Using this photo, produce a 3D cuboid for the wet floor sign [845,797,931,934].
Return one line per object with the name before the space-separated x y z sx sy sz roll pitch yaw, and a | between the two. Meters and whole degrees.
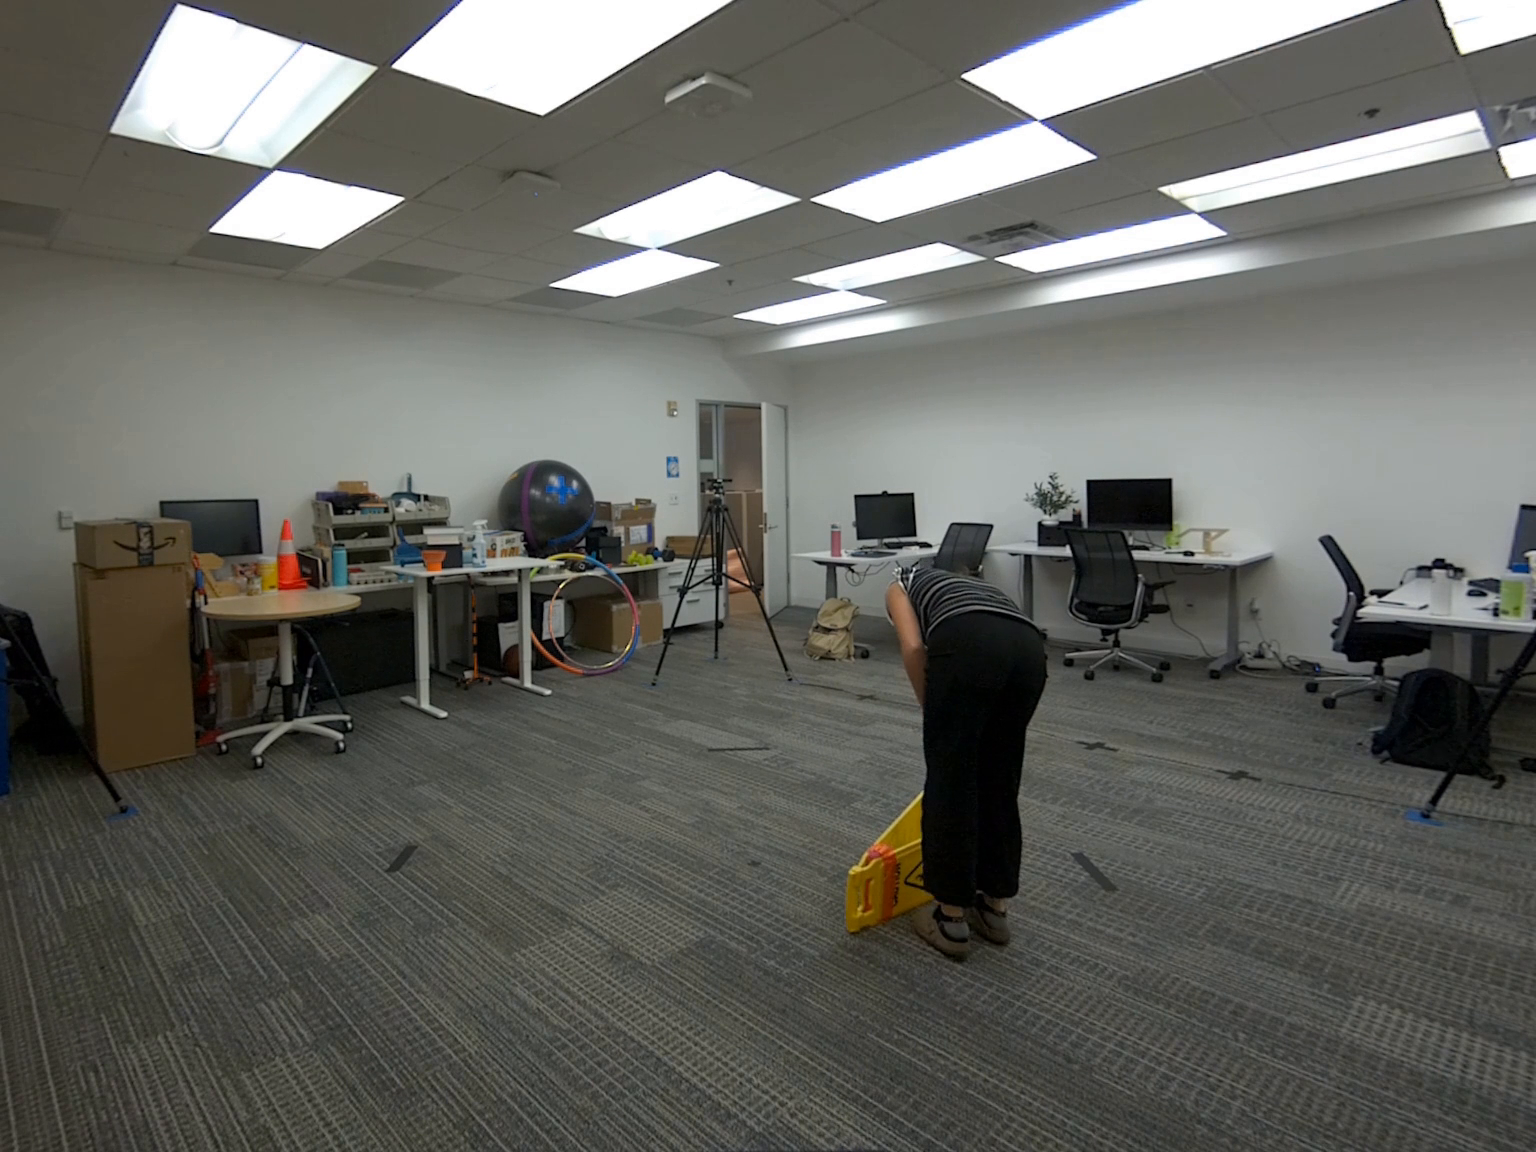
wet floor sign | 0.473 0.943 2.804 0.299 0.279 0.631 11 16 43
